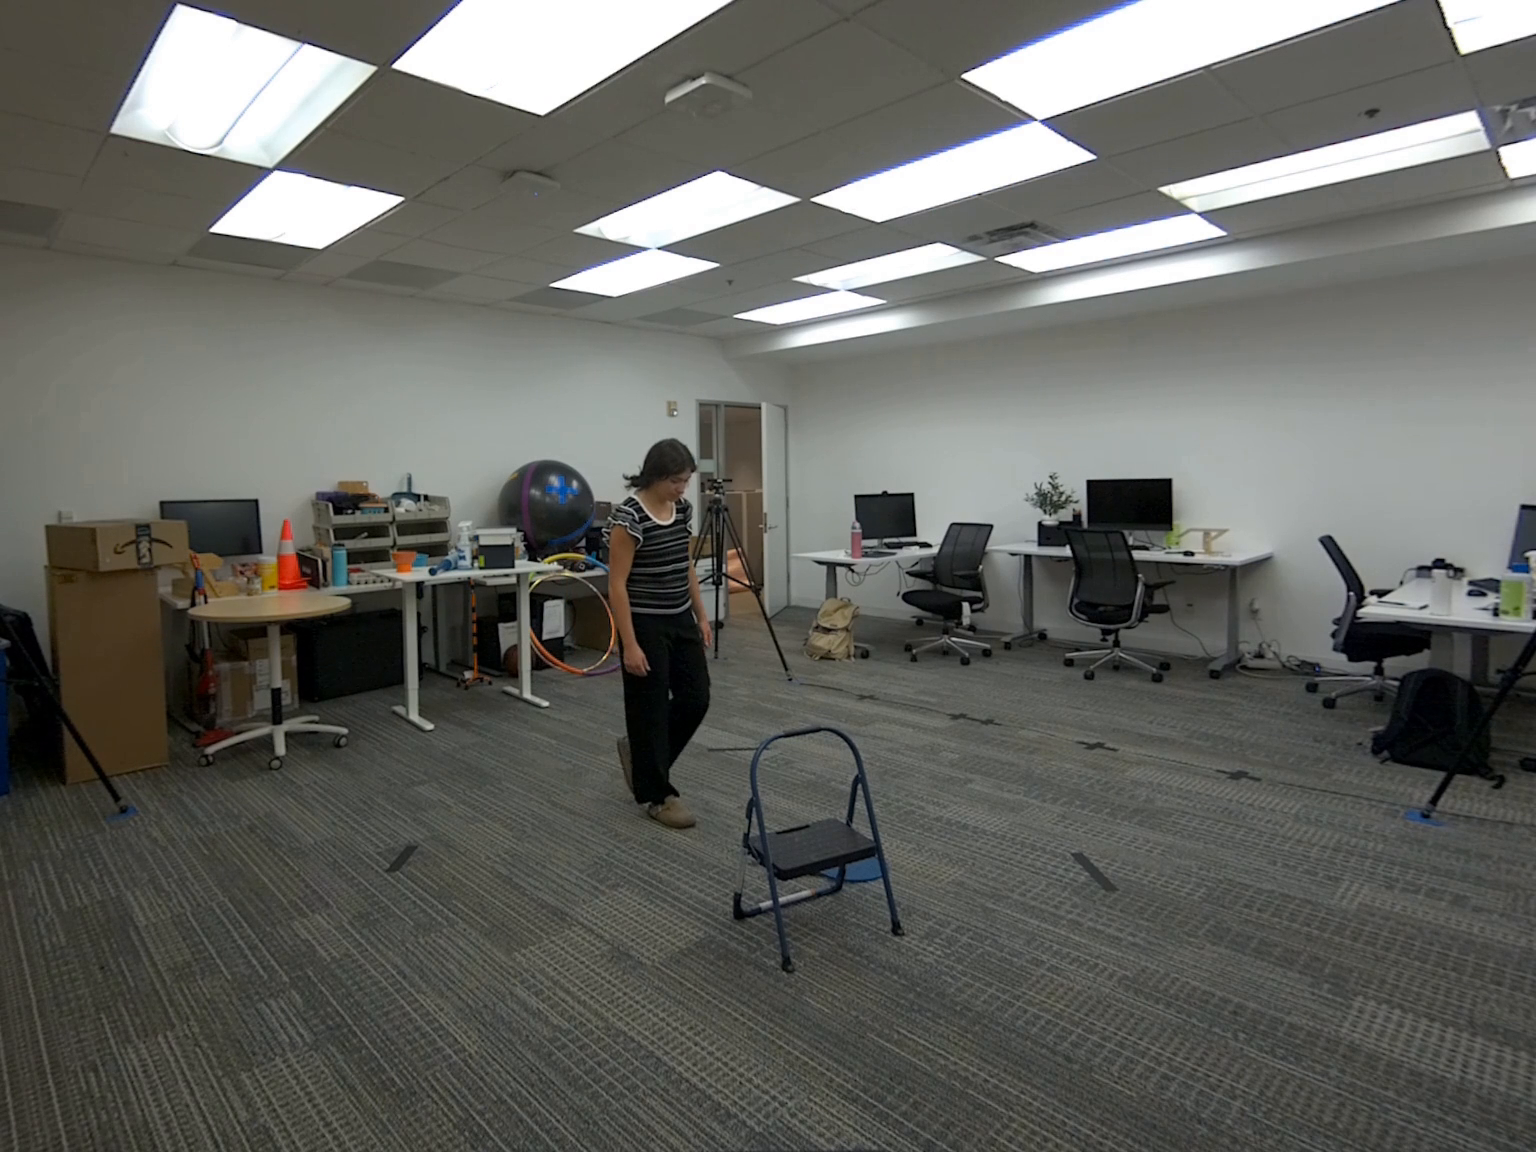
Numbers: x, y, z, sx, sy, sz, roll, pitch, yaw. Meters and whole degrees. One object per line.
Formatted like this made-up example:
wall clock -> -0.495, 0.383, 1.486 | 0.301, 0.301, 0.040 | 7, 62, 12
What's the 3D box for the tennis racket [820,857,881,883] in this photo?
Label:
tennis racket -> 0.224, 1.037, 3.036 | 0.429, 0.031, 0.216 | -1, 5, -9
